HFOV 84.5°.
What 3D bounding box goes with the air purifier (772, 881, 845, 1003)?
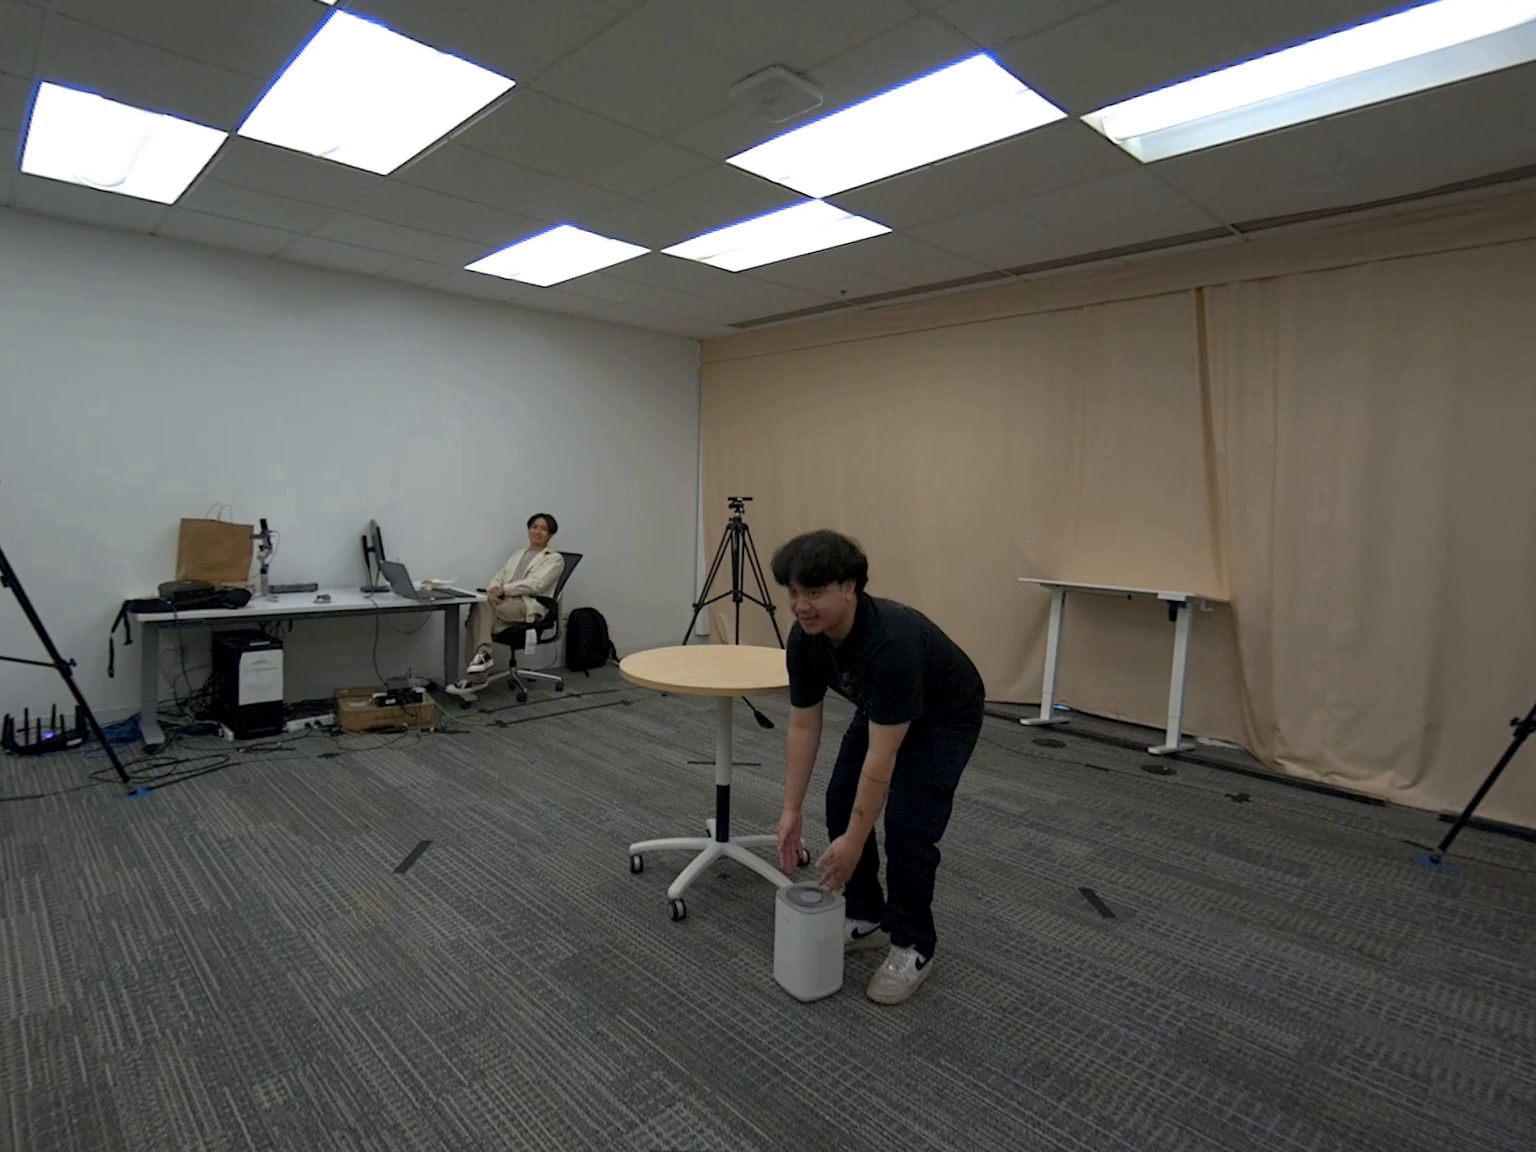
[{"bbox_3d":[0.113,1.045,2.403,0.168,0.265,0.175,-2,4,-35],"label":"air purifier"}]
